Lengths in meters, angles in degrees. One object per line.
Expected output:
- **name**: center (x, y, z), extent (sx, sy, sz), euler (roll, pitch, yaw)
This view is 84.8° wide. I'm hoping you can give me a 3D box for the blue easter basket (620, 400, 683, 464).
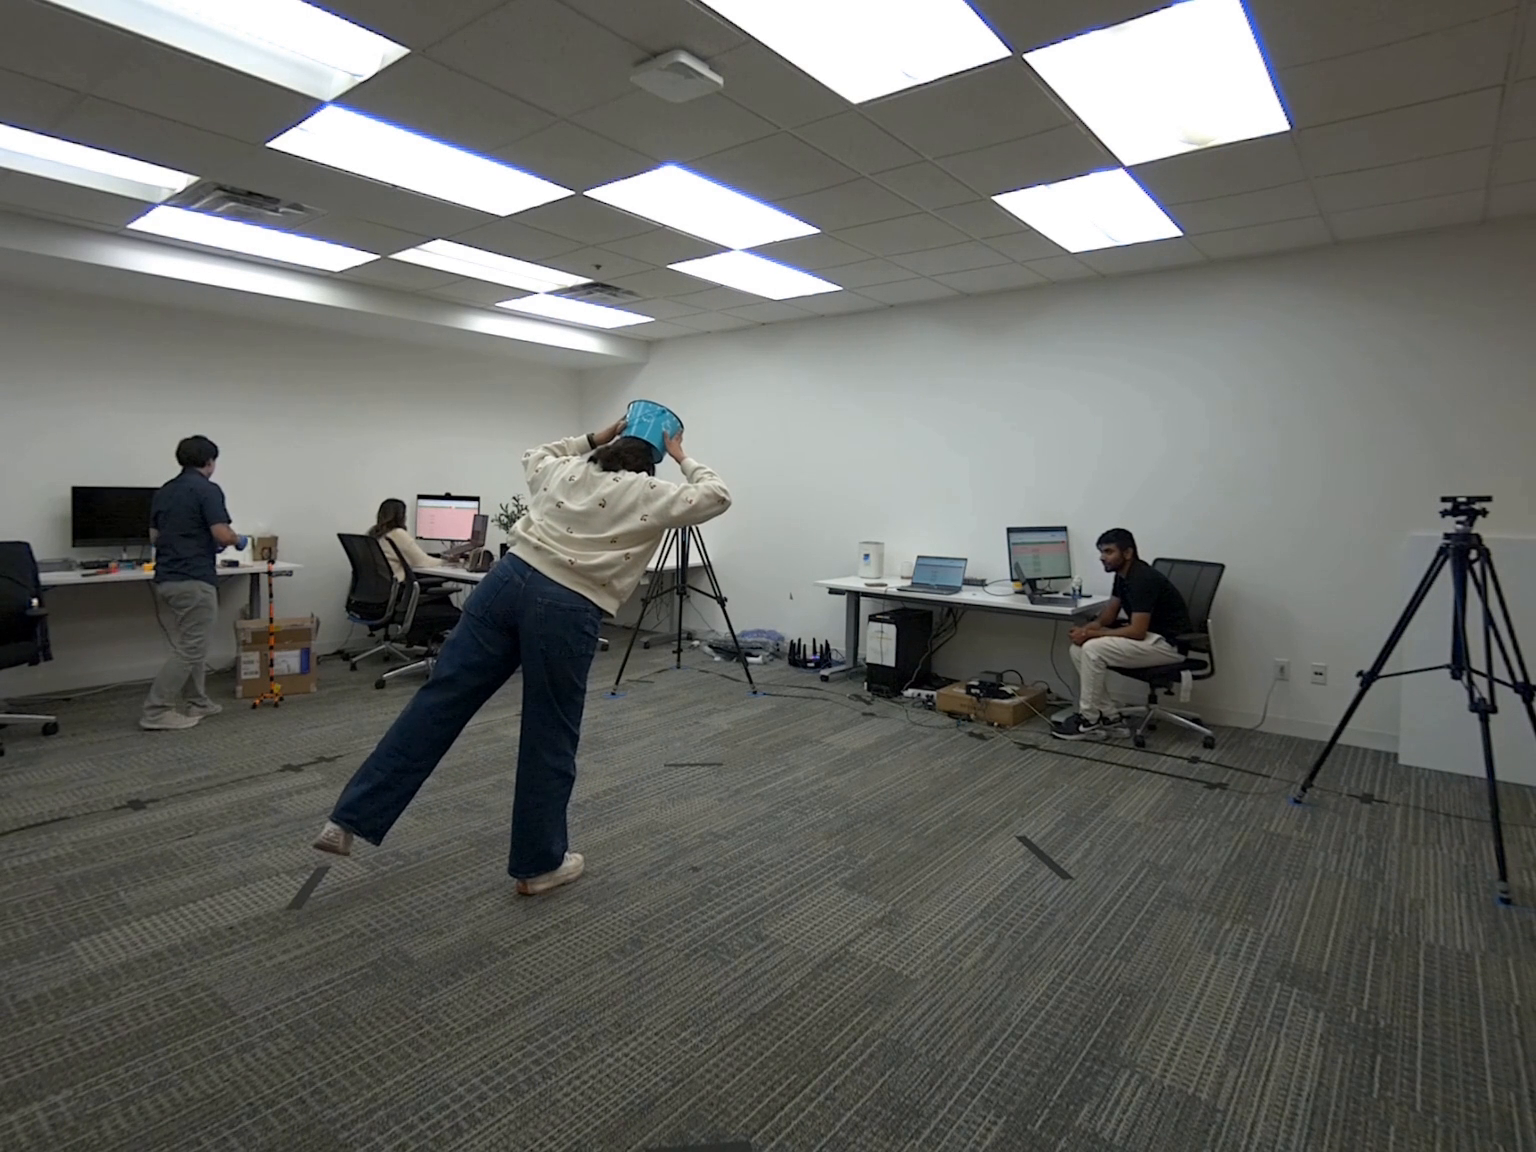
- **blue easter basket**: center (-0.474, -0.551, 3.263), extent (0.246, 0.157, 0.238), euler (20, -23, 7)
